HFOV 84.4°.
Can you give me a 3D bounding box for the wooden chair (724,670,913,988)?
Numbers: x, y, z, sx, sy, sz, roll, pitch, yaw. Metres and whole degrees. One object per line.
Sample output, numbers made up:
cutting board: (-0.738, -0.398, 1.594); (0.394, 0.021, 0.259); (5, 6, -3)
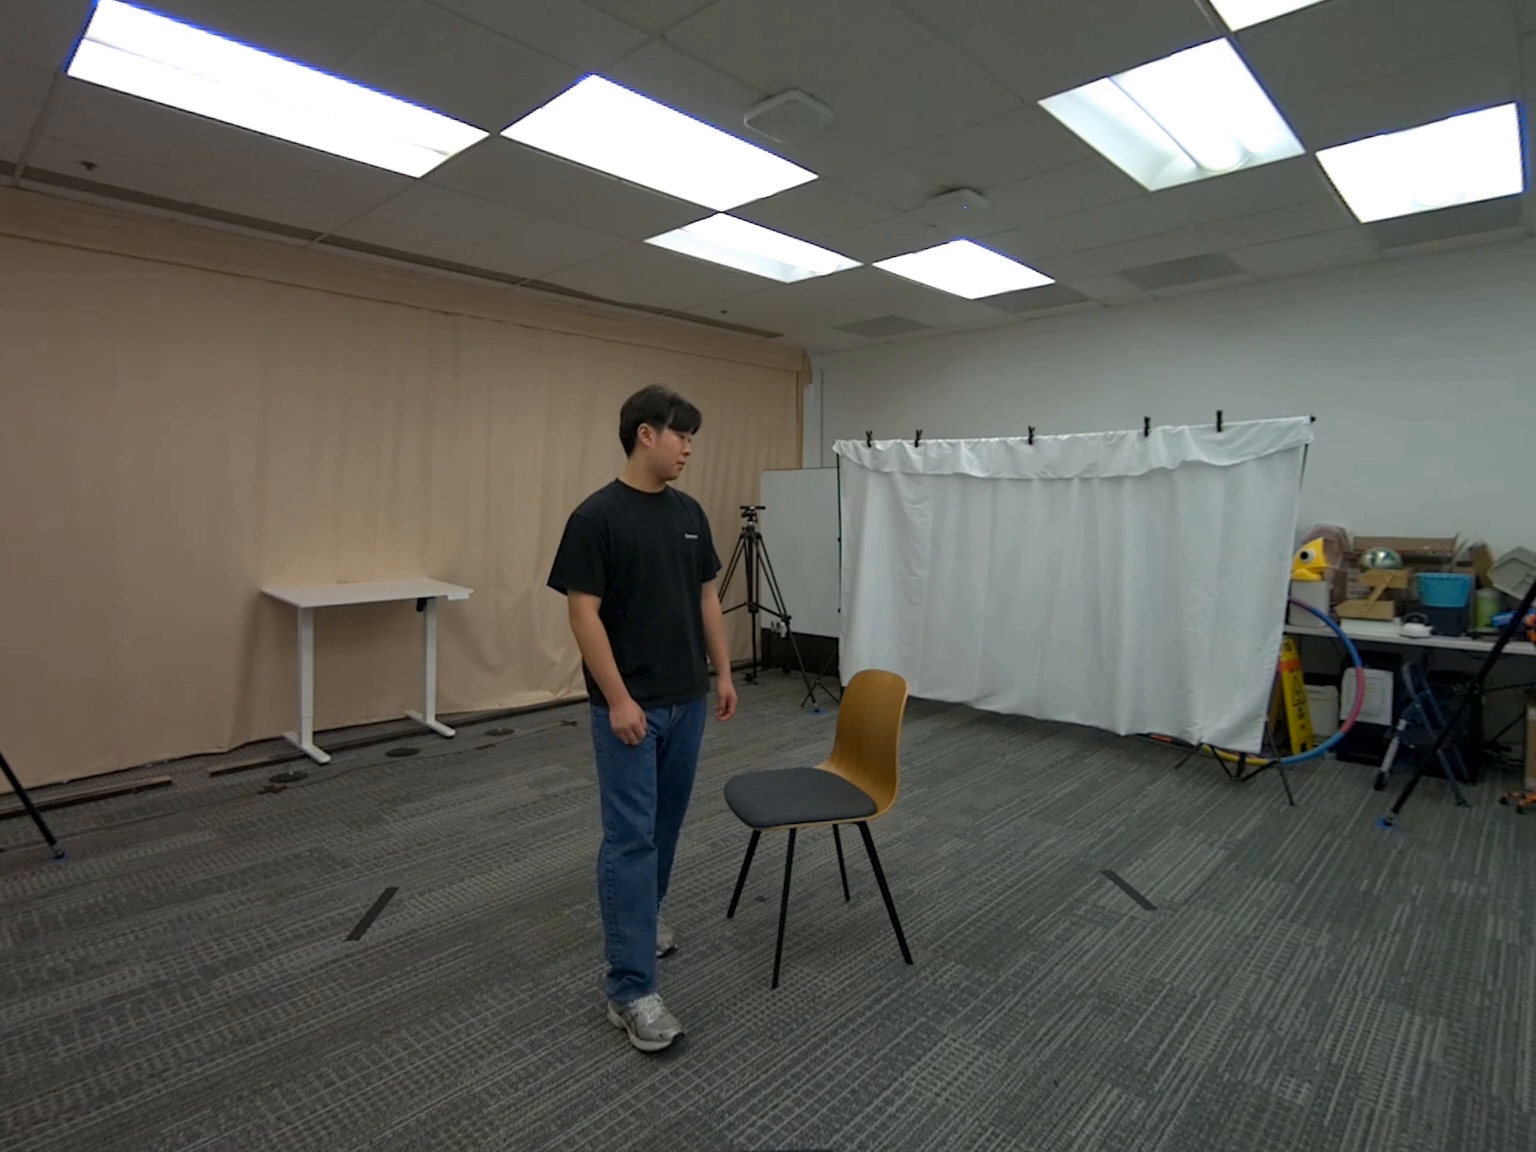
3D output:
wooden chair: (0.149, 0.743, 2.673); (0.513, 0.876, 0.488); (3, 3, -19)
